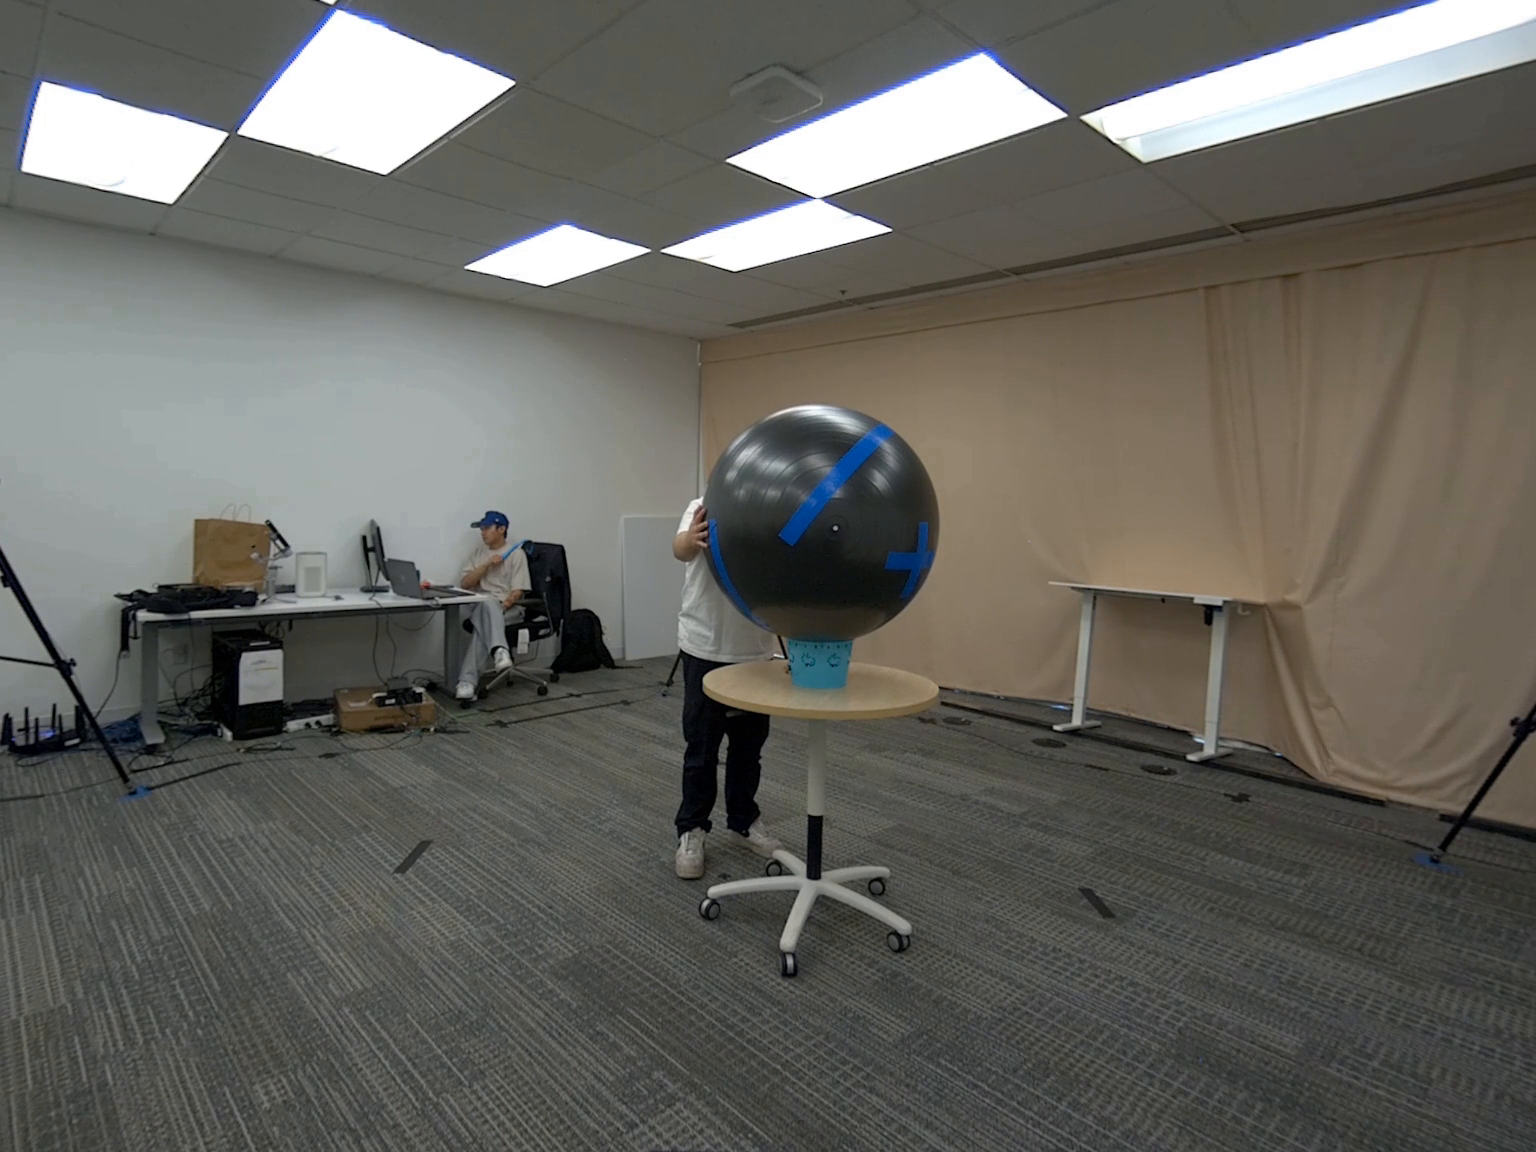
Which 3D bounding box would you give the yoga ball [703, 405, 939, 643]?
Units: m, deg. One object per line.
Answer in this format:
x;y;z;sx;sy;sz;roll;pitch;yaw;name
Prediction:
0.161;-0.165;2.702;0.757;0.756;0.761;1;4;-1;yoga ball
